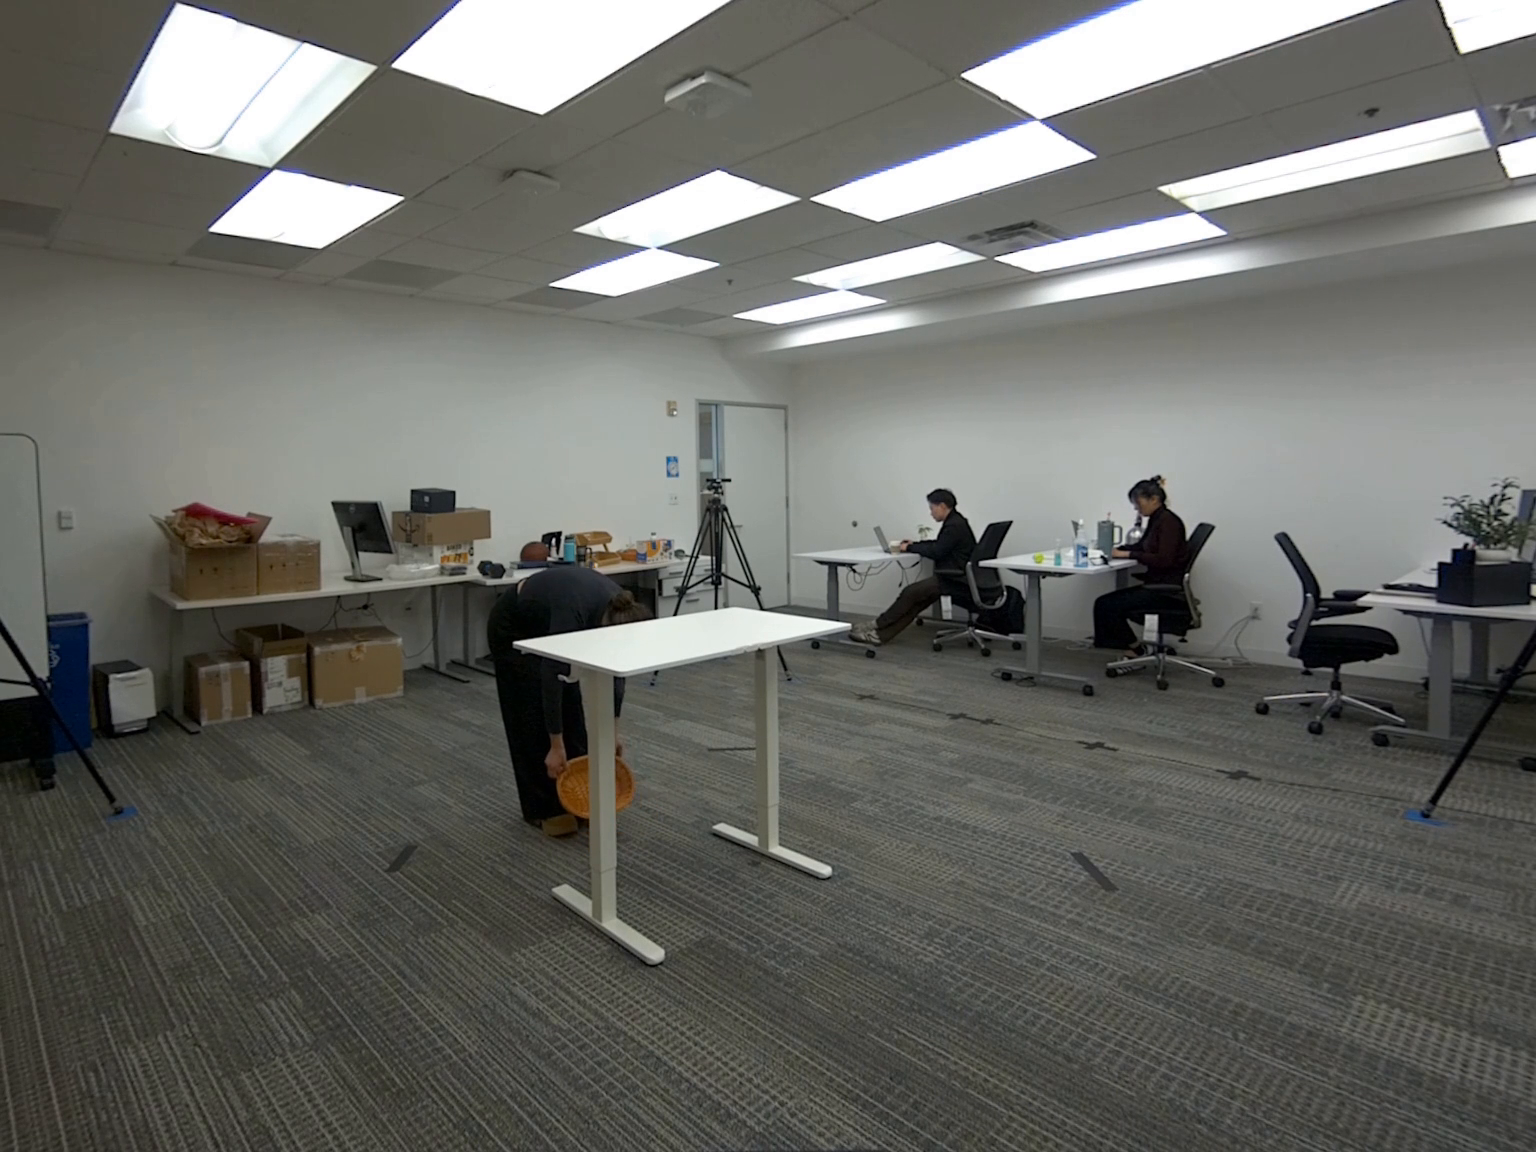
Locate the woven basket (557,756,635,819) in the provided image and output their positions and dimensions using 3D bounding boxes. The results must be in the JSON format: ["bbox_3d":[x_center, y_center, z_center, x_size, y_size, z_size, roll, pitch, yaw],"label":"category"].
[{"bbox_3d":[-0.679,0.825,3.373,0.341,0.259,0.073,-3,-32,-44],"label":"woven basket"}]
